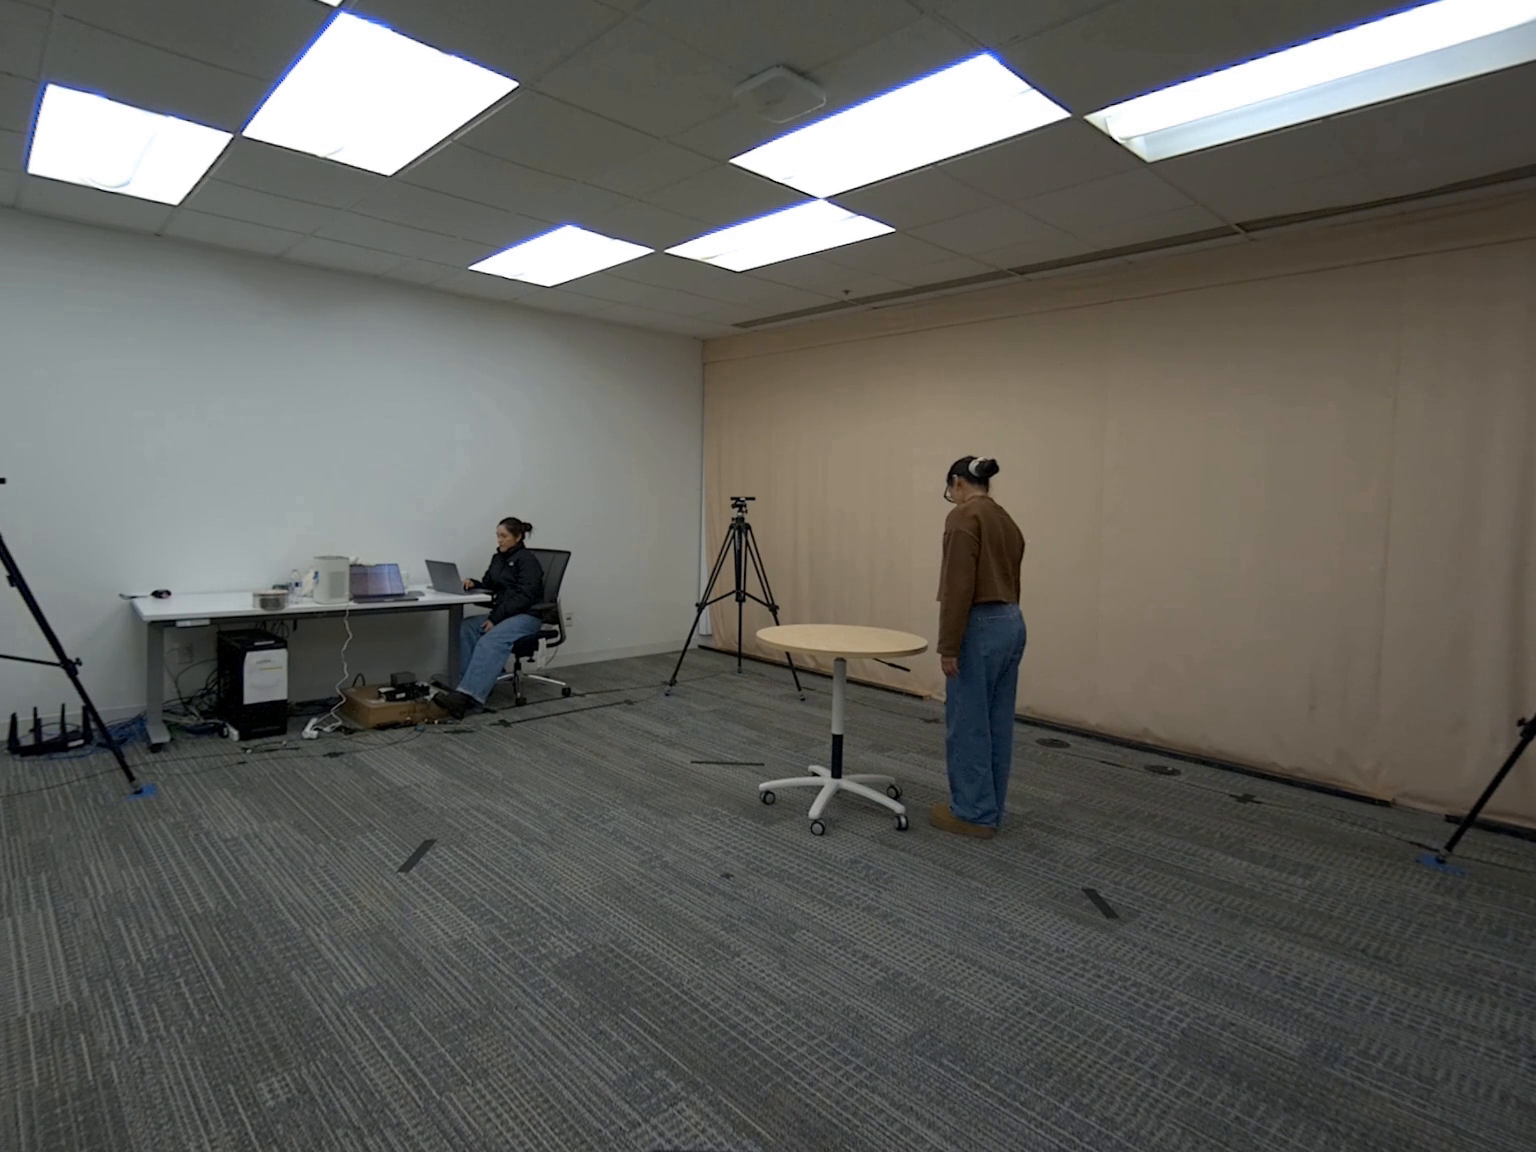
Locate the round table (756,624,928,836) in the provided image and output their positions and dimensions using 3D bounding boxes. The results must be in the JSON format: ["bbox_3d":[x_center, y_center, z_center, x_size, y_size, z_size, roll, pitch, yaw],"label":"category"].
[{"bbox_3d":[0.316,0.665,3.813,0.763,0.792,0.766,2,4,-1],"label":"round table"}]
